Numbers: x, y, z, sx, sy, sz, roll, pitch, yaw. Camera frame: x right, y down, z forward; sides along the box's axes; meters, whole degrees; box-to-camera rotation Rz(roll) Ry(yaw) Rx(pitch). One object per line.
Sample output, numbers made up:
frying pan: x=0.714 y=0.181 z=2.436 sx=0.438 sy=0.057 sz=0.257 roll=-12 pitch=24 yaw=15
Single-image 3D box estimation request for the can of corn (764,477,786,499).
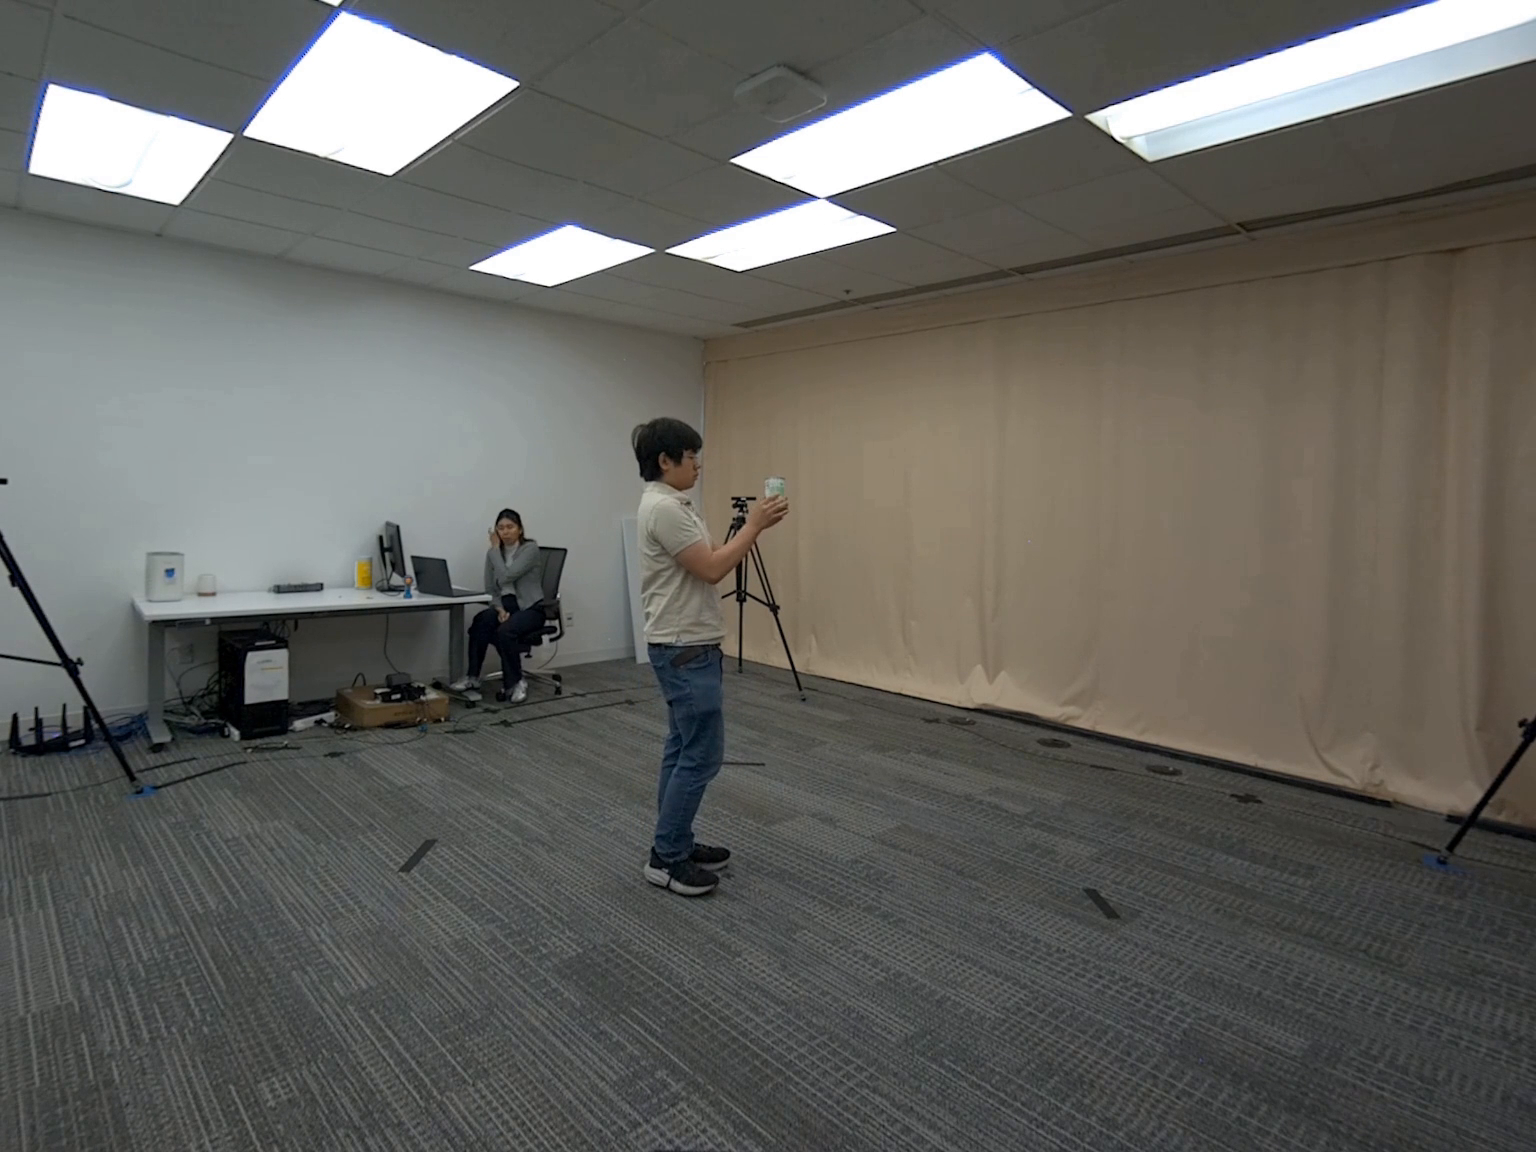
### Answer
can of corn: x=0.011 y=-0.306 z=3.074 sx=0.074 sy=0.111 sz=0.074 roll=2 pitch=-7 yaw=-1
